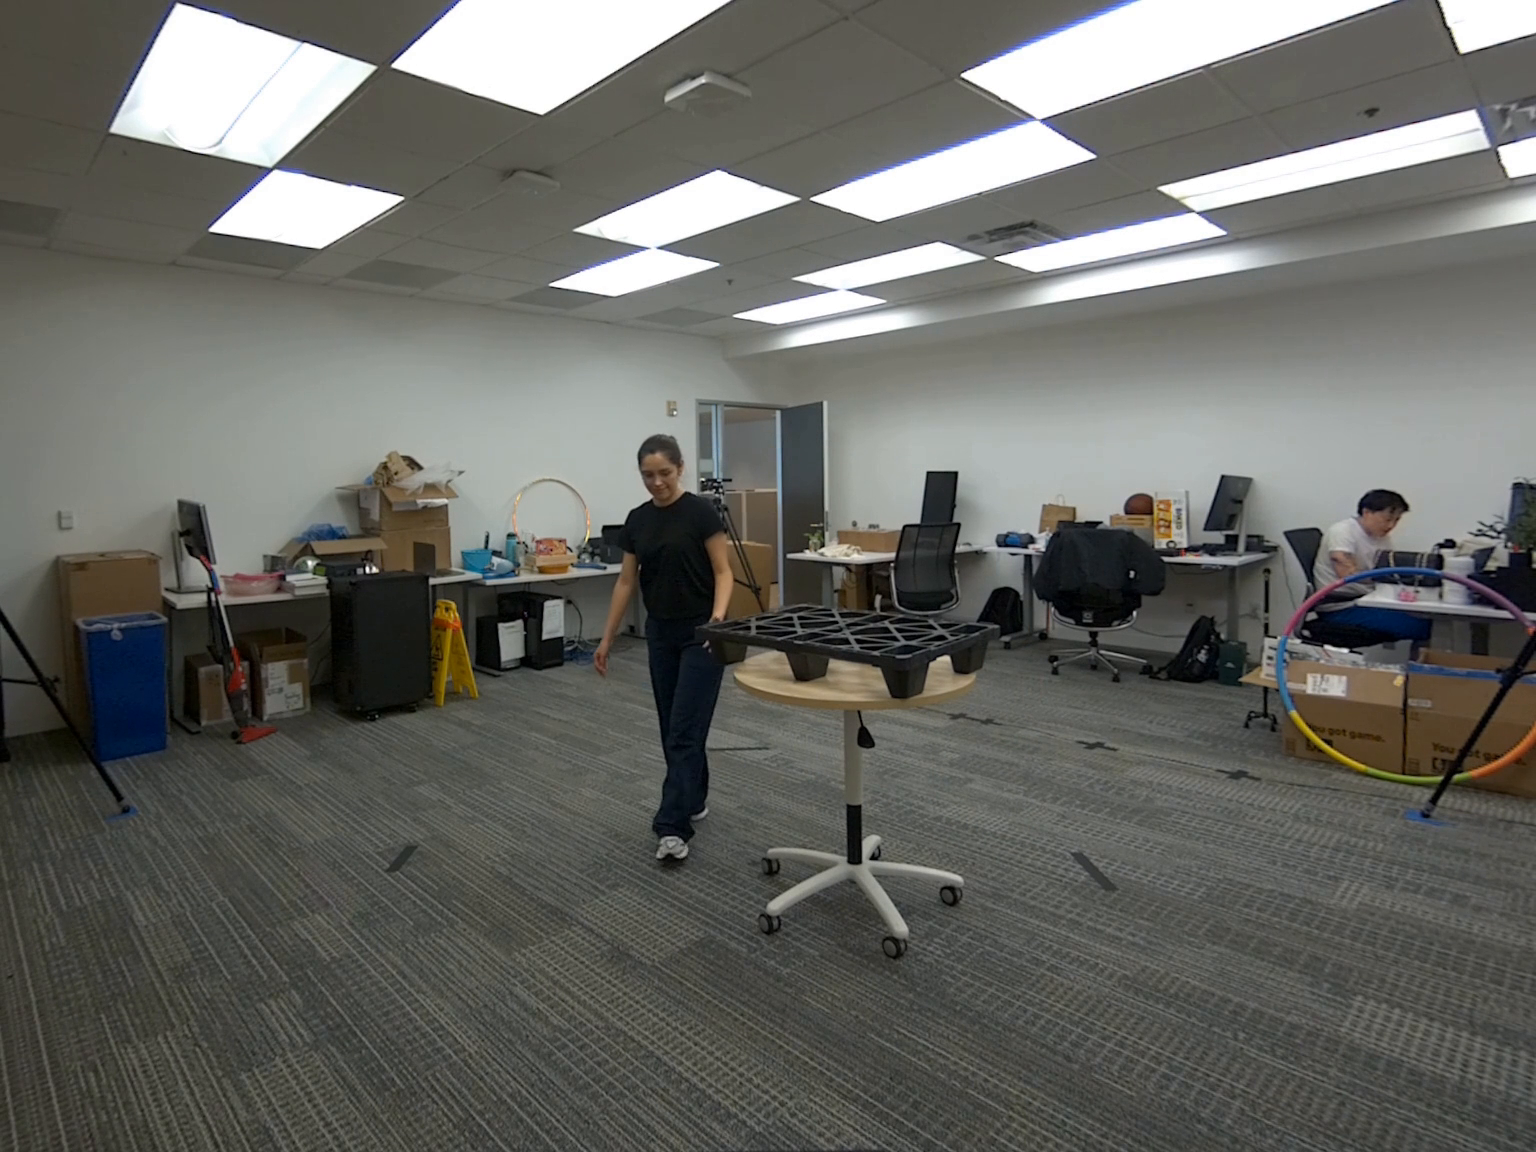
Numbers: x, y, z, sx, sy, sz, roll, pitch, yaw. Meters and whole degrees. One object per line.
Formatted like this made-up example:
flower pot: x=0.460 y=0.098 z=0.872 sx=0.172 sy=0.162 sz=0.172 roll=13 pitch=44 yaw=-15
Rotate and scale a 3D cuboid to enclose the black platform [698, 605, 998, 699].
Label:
black platform: x=0.252 y=0.231 z=2.789 sx=0.830 sy=0.142 sz=0.590 roll=4 pitch=9 yaw=41
